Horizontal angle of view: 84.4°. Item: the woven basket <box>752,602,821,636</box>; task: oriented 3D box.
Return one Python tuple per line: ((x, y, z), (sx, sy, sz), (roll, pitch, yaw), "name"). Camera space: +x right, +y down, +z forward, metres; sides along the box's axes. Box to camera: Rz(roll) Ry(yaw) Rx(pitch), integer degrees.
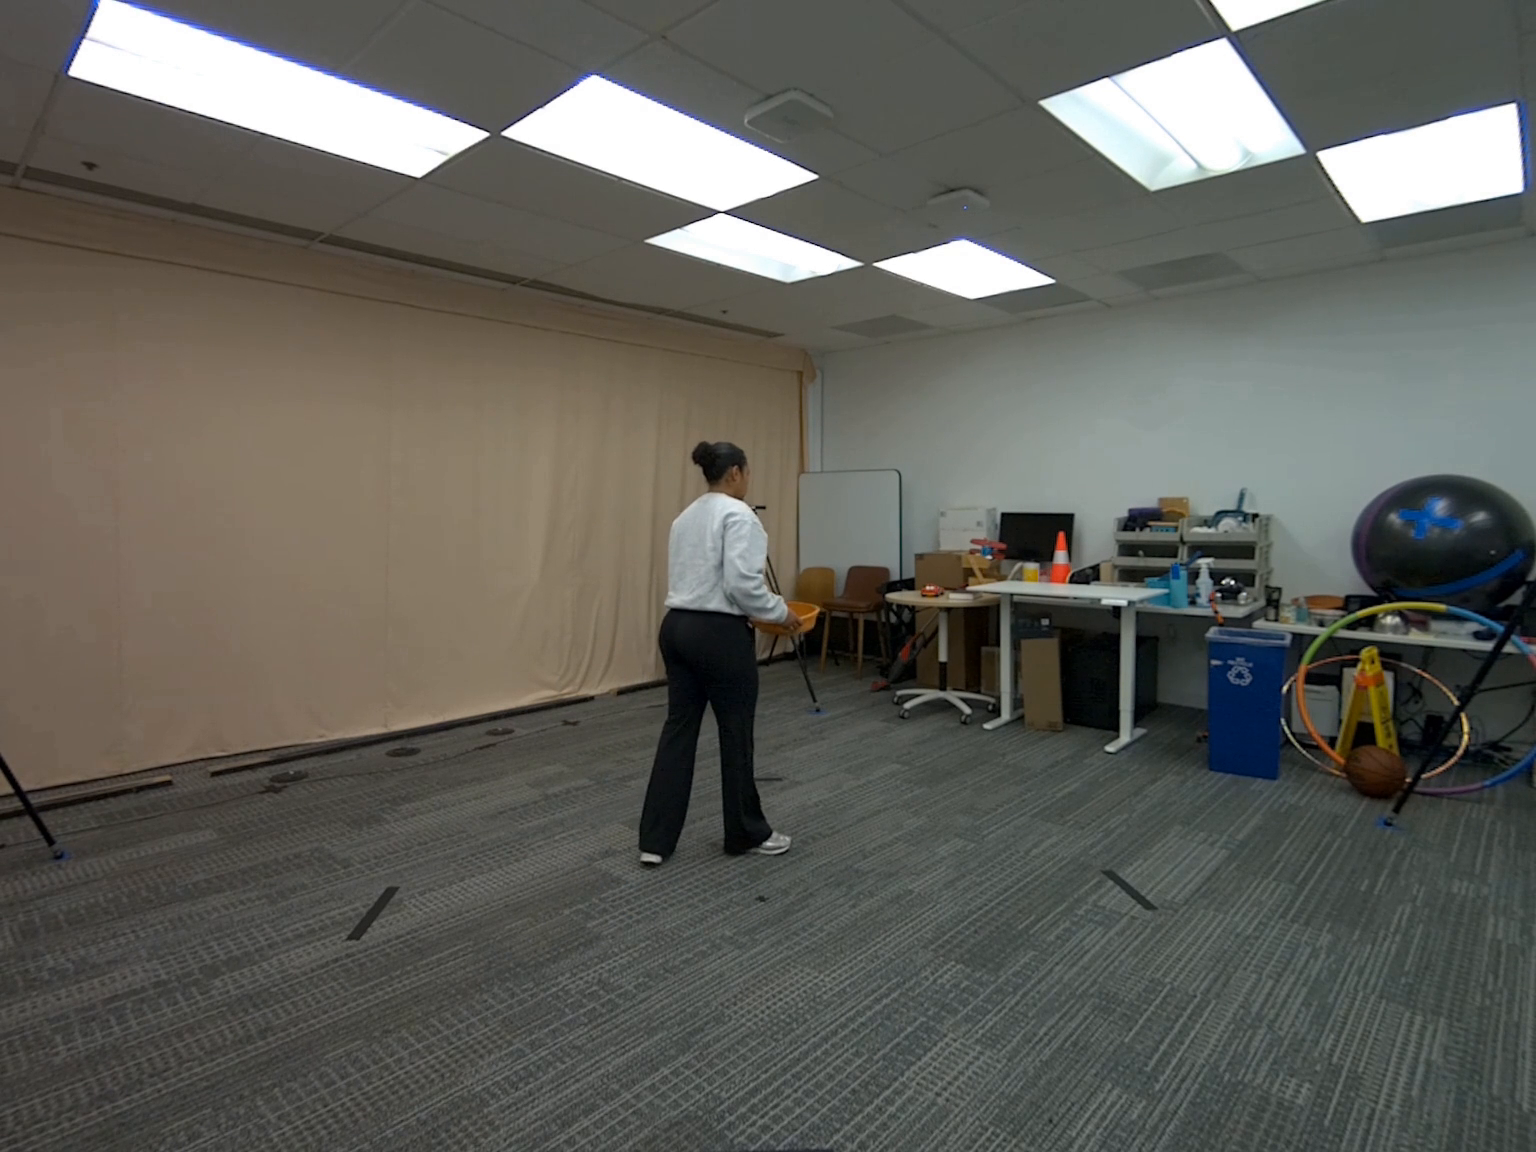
((0.056, 0.180, 3.503), (0.247, 0.073, 0.361), (-17, 12, -30), "woven basket")
